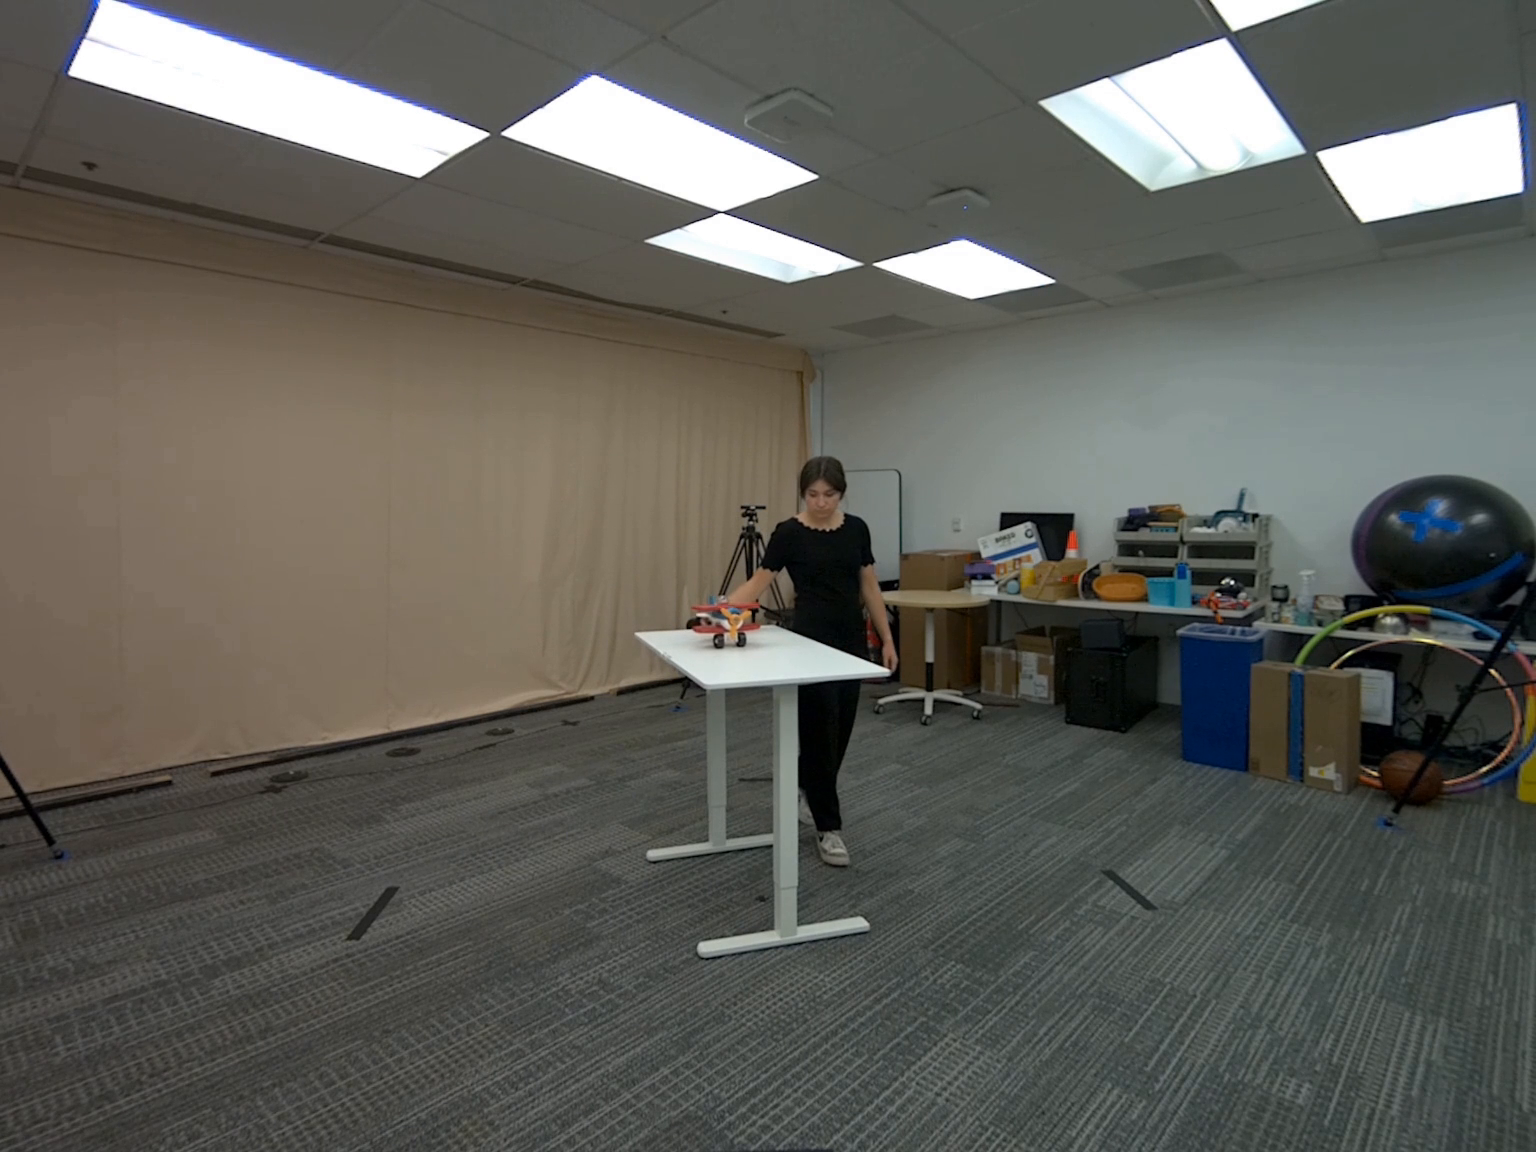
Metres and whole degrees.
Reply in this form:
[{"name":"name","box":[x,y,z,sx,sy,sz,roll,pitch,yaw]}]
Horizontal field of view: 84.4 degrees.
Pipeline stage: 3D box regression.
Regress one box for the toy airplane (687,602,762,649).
[{"name":"toy airplane","box":[-0.180,0.159,3.087,0.268,0.155,0.244,18,19,39]}]
